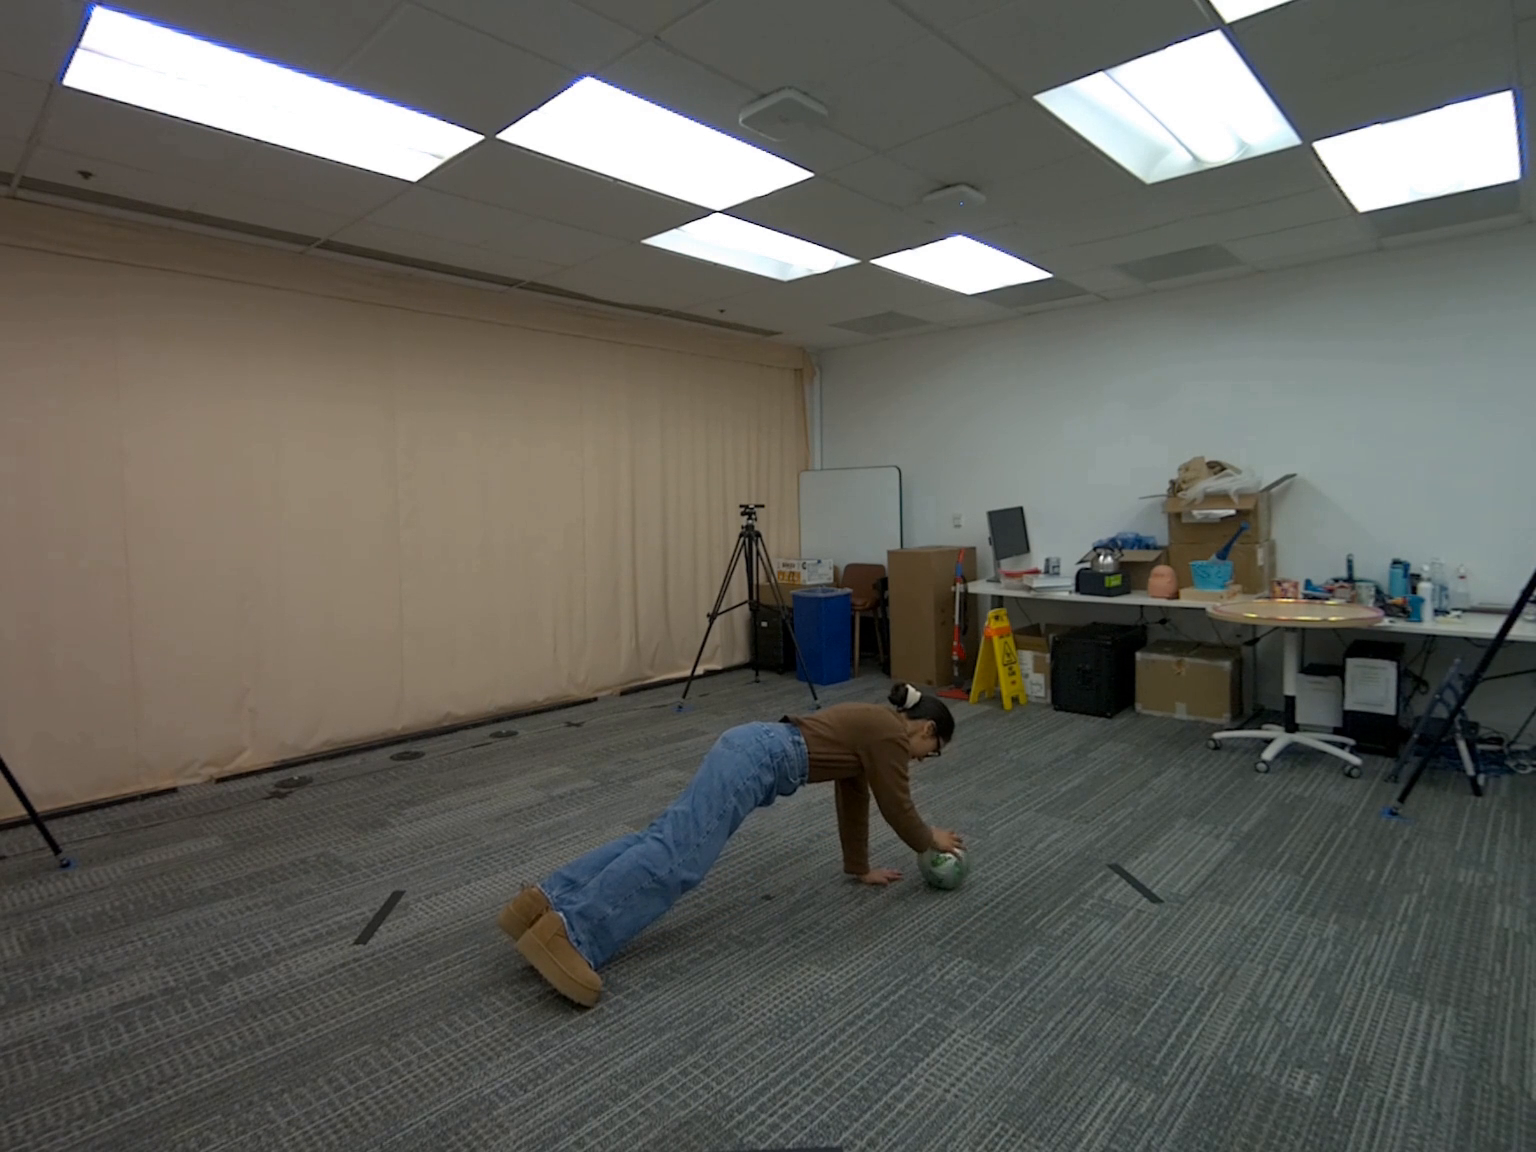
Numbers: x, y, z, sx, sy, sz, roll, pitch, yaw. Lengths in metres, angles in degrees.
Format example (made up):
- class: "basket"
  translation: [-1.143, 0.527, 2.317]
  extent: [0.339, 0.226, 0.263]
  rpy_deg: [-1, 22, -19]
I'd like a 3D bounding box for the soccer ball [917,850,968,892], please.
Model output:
- class: "soccer ball"
  translation: [0.633, 1.034, 3.048]
  extent: [0.187, 0.187, 0.188]
  rpy_deg: [-1, 4, -2]
